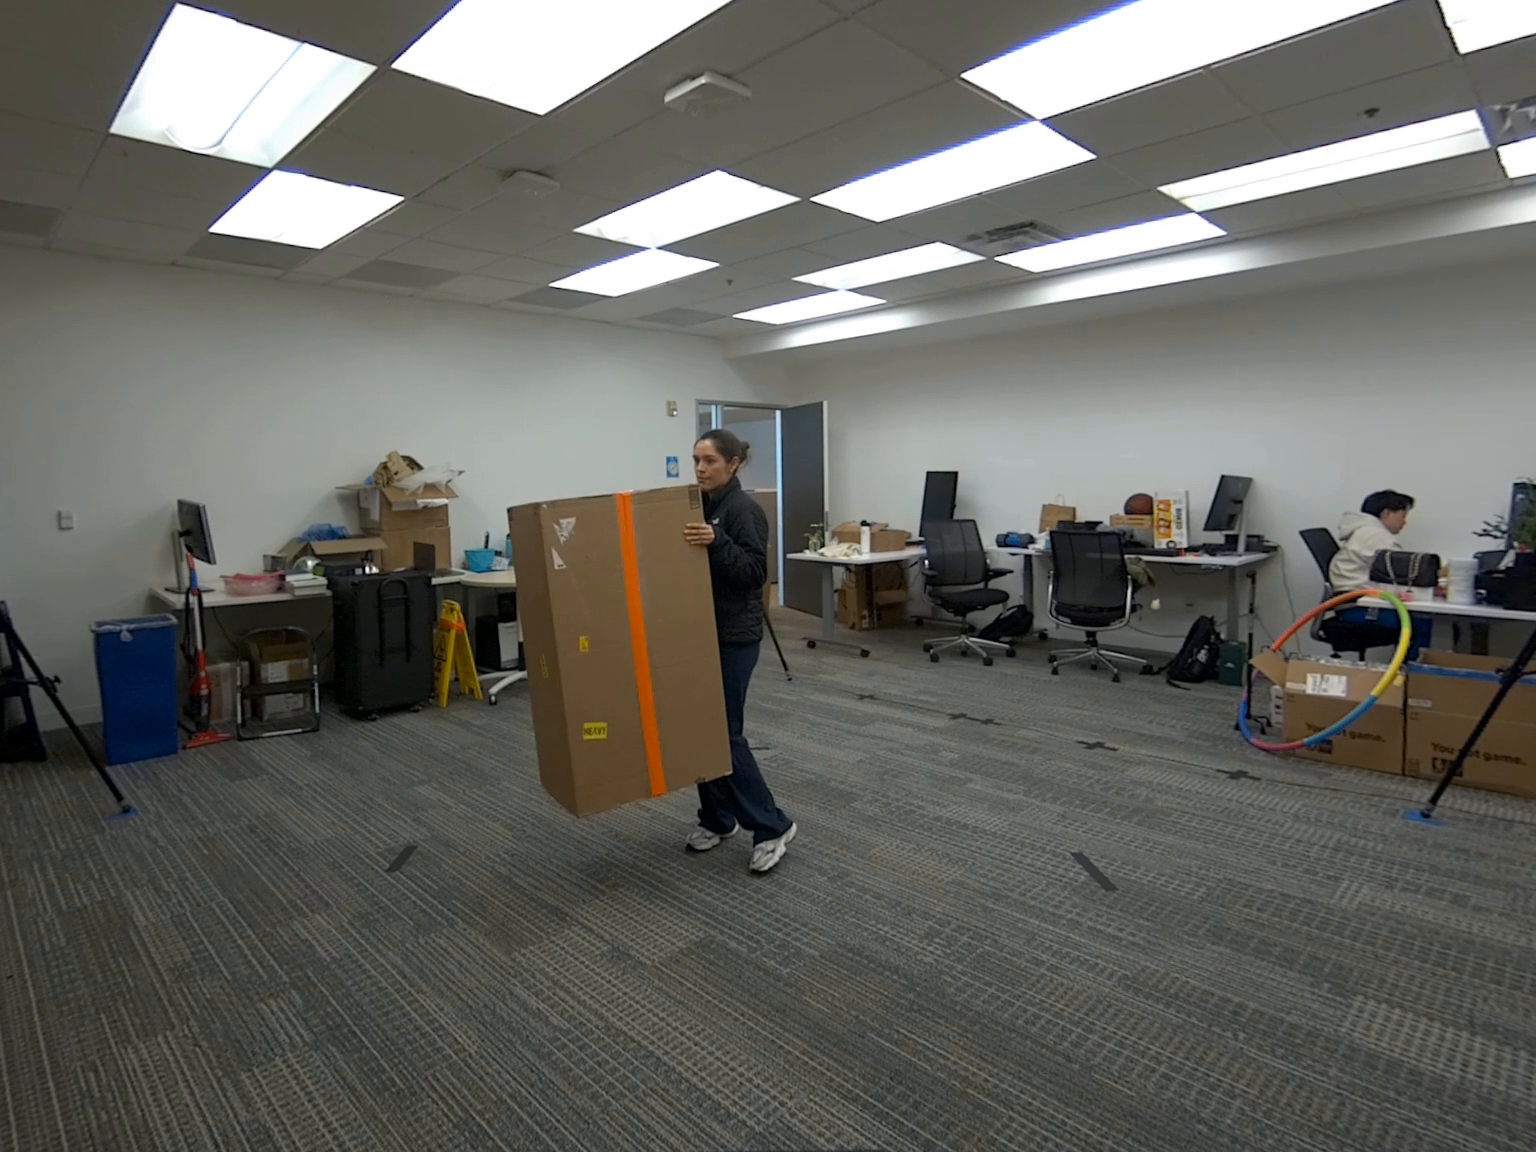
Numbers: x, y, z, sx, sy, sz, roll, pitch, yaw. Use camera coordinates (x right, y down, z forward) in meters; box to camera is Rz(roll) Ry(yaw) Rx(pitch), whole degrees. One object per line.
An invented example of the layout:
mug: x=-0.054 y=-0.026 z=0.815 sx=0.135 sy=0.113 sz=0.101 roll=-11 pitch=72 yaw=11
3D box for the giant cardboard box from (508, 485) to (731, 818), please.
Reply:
giant cardboard box: x=-0.522 y=0.228 z=3.014 sx=0.565 sy=1.023 sz=0.436 roll=-9 pitch=4 yaw=-30
